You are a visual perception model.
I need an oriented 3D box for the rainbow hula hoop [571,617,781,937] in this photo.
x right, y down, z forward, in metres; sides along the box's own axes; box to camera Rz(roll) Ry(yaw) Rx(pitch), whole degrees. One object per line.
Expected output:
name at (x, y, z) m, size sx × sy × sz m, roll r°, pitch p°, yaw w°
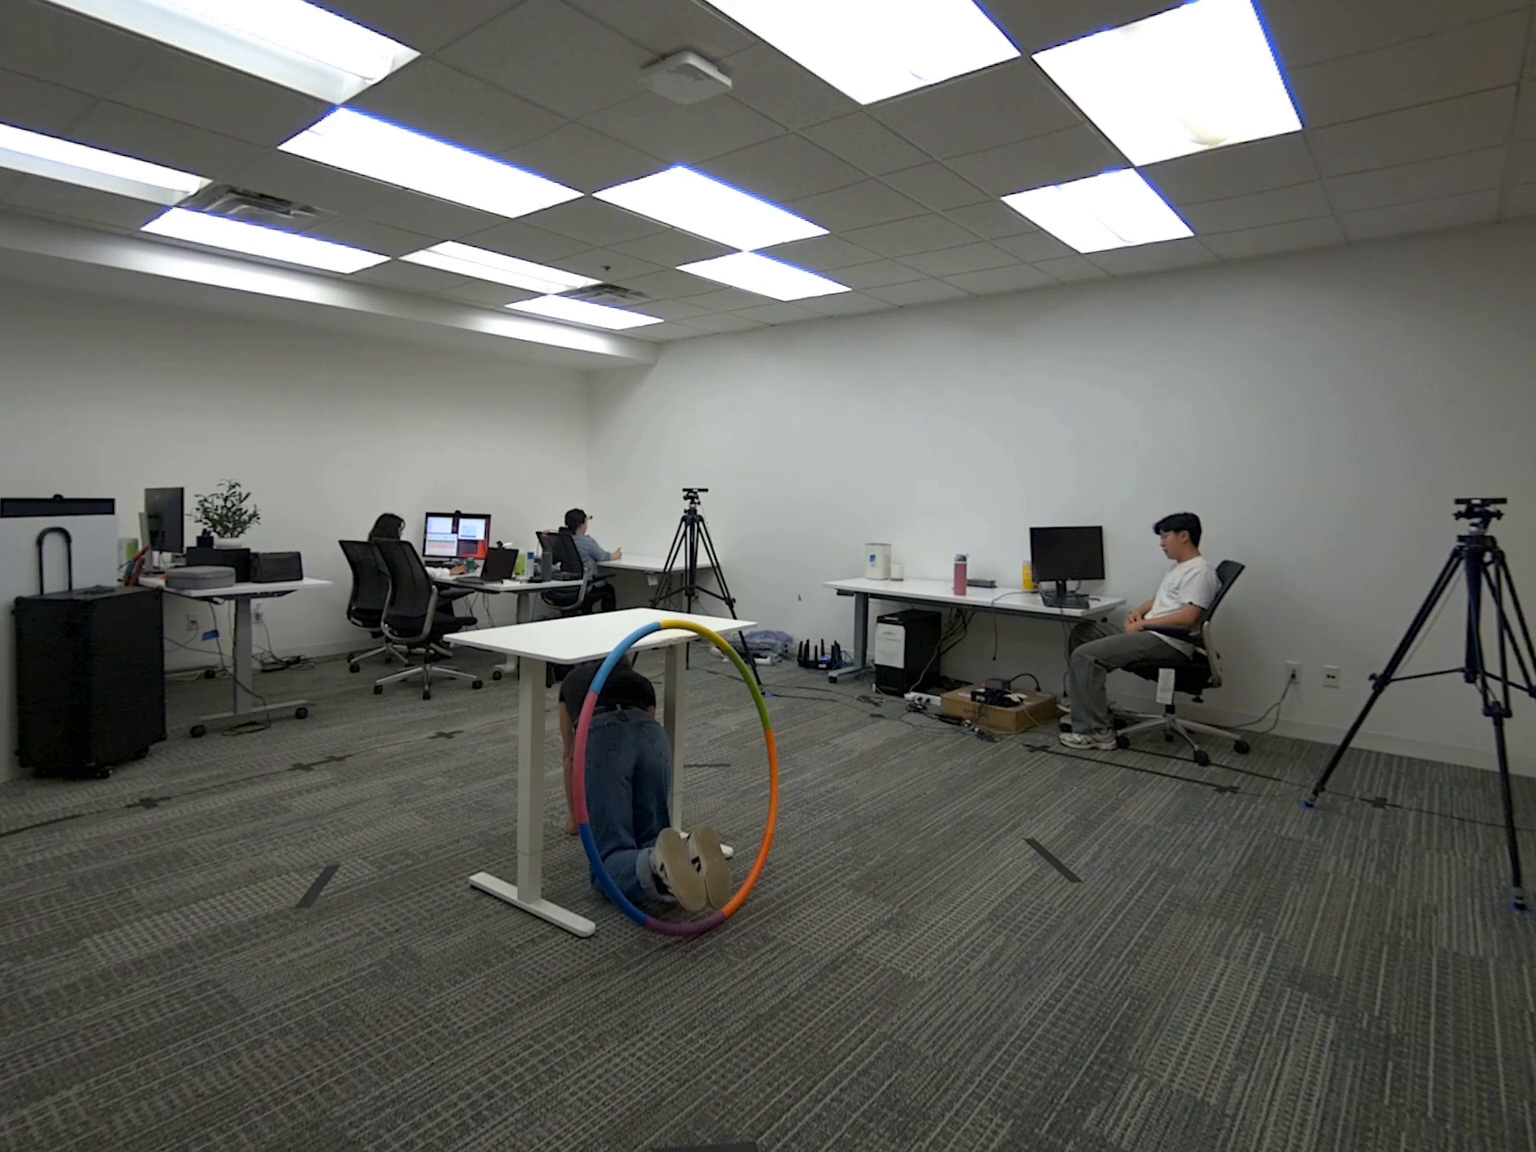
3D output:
rainbow hula hoop at (-0.256, 0.624, 2.765) m, size 0.036 × 0.985 × 0.951 m, roll -15°, pitch -6°, yaw 35°
